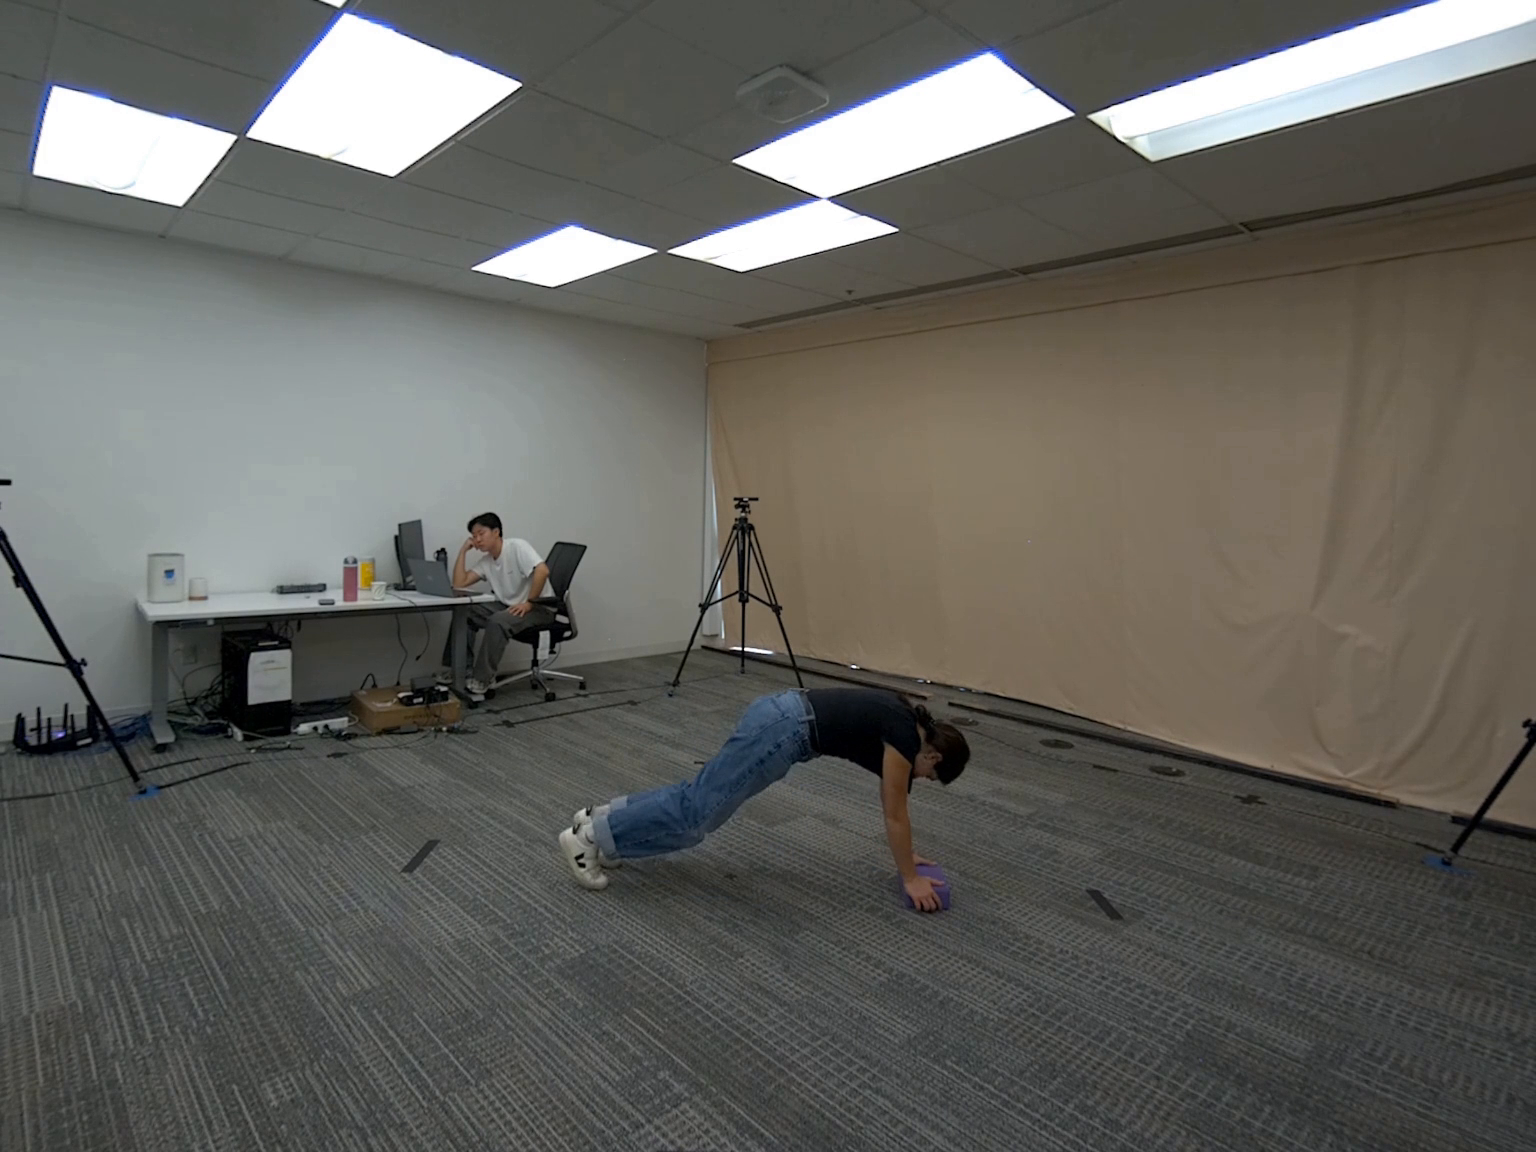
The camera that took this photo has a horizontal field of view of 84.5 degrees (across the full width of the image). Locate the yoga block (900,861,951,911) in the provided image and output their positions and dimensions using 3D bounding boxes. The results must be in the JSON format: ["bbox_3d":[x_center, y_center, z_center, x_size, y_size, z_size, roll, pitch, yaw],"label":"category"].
[{"bbox_3d":[0.546,1.101,2.991,0.149,0.076,0.229,0,5,2],"label":"yoga block"}]
